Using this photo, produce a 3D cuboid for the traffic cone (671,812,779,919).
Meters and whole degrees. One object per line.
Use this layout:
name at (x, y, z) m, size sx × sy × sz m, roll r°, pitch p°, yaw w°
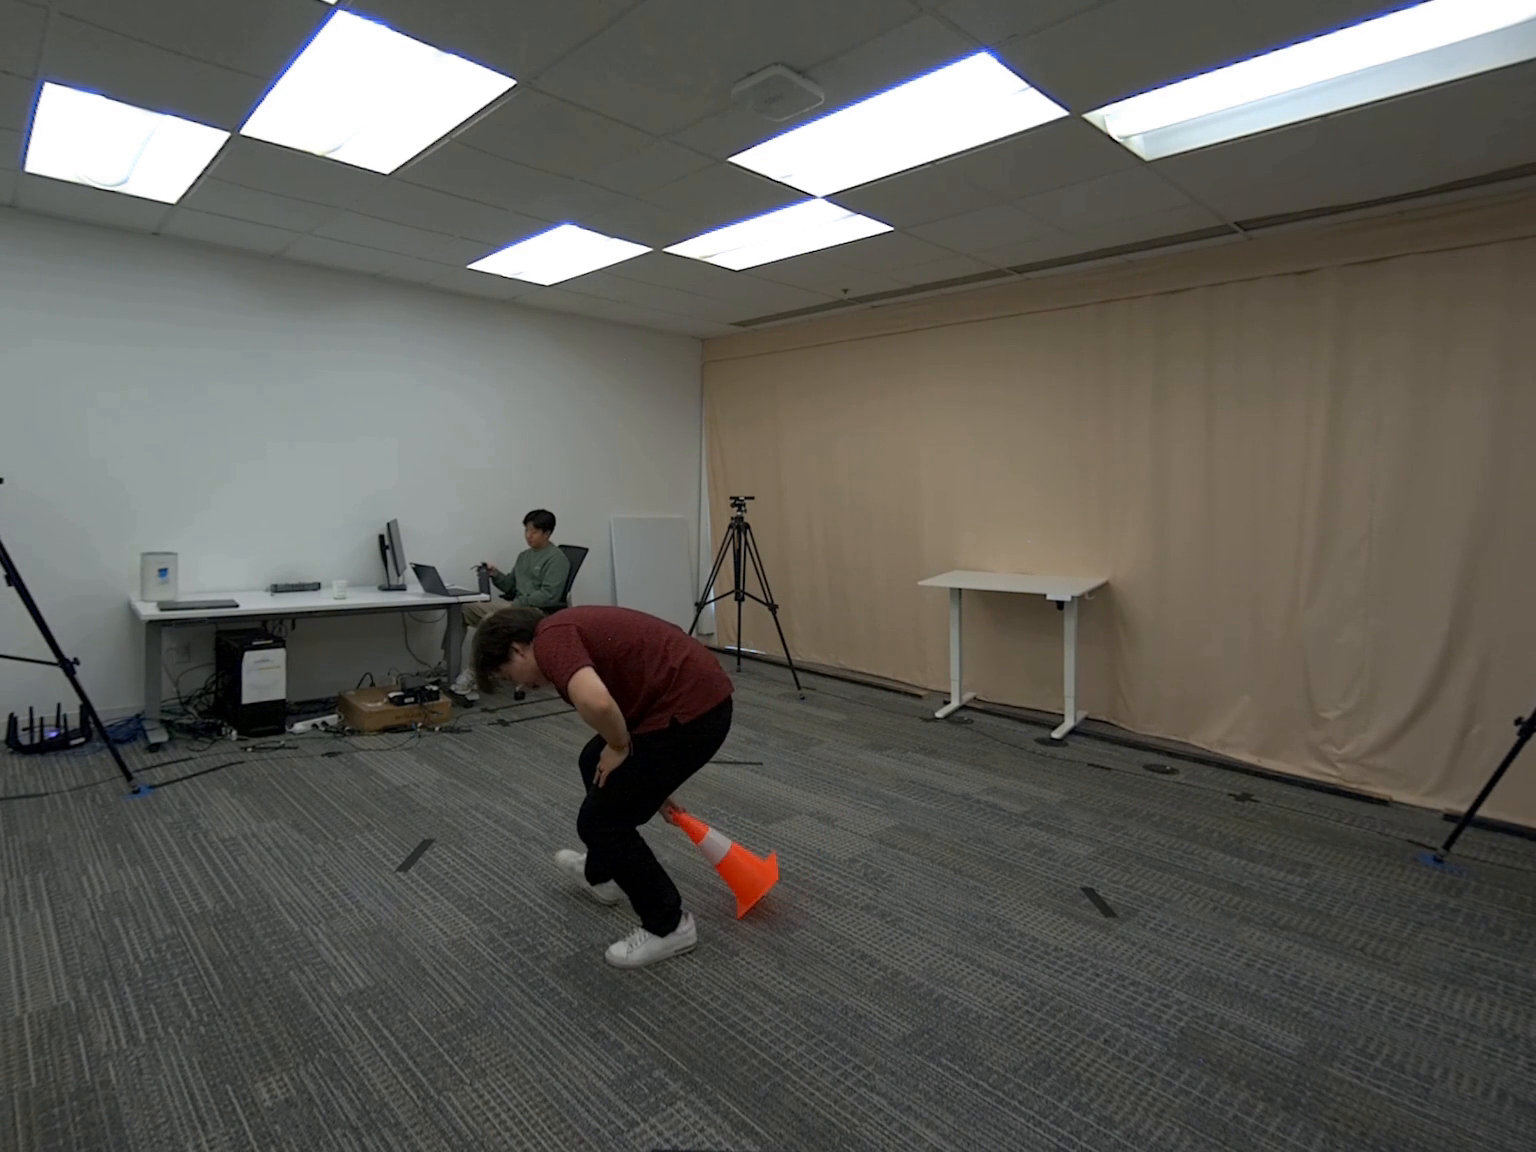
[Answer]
traffic cone at (-0.174, 0.932, 2.847) m, size 0.381 × 0.203 × 0.206 m, roll 41°, pitch 8°, yaw -7°
